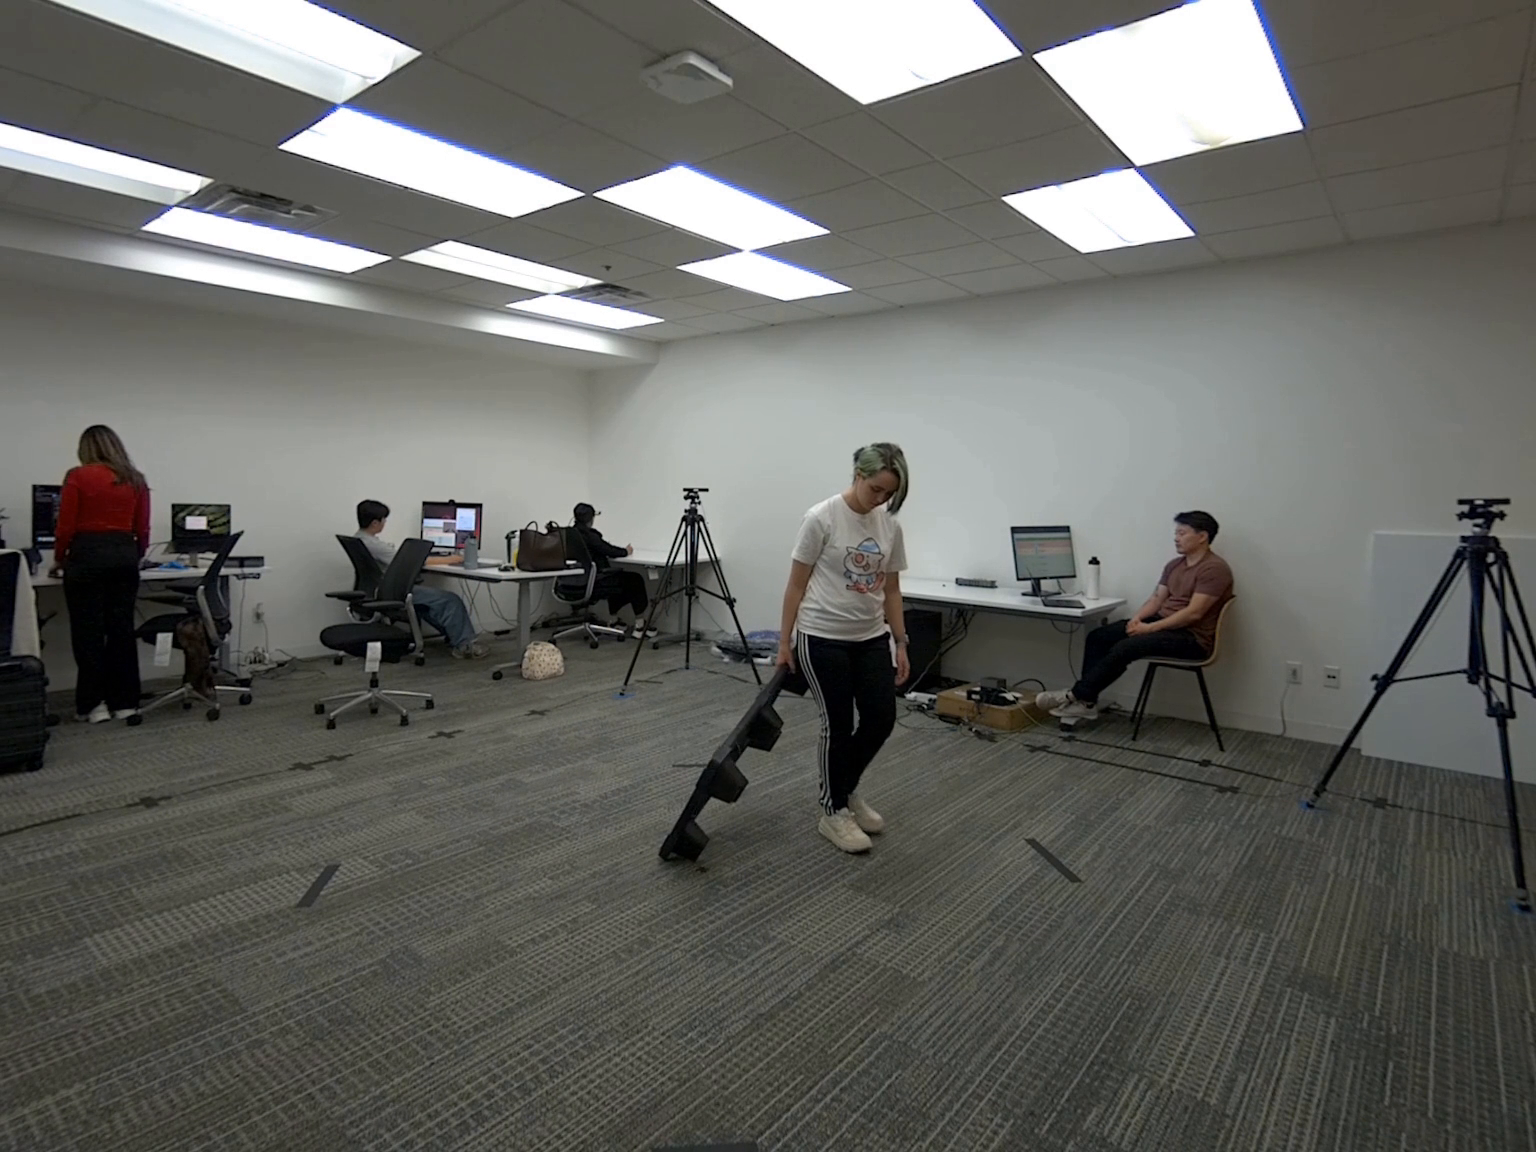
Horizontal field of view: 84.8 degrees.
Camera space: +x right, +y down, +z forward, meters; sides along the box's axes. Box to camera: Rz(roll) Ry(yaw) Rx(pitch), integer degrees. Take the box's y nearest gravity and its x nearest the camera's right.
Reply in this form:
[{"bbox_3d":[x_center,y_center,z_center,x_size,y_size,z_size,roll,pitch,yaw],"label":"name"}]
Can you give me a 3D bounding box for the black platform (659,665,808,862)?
[{"bbox_3d":[-0.106,0.698,3.321,0.145,0.598,0.803,32,34,8],"label":"black platform"}]
